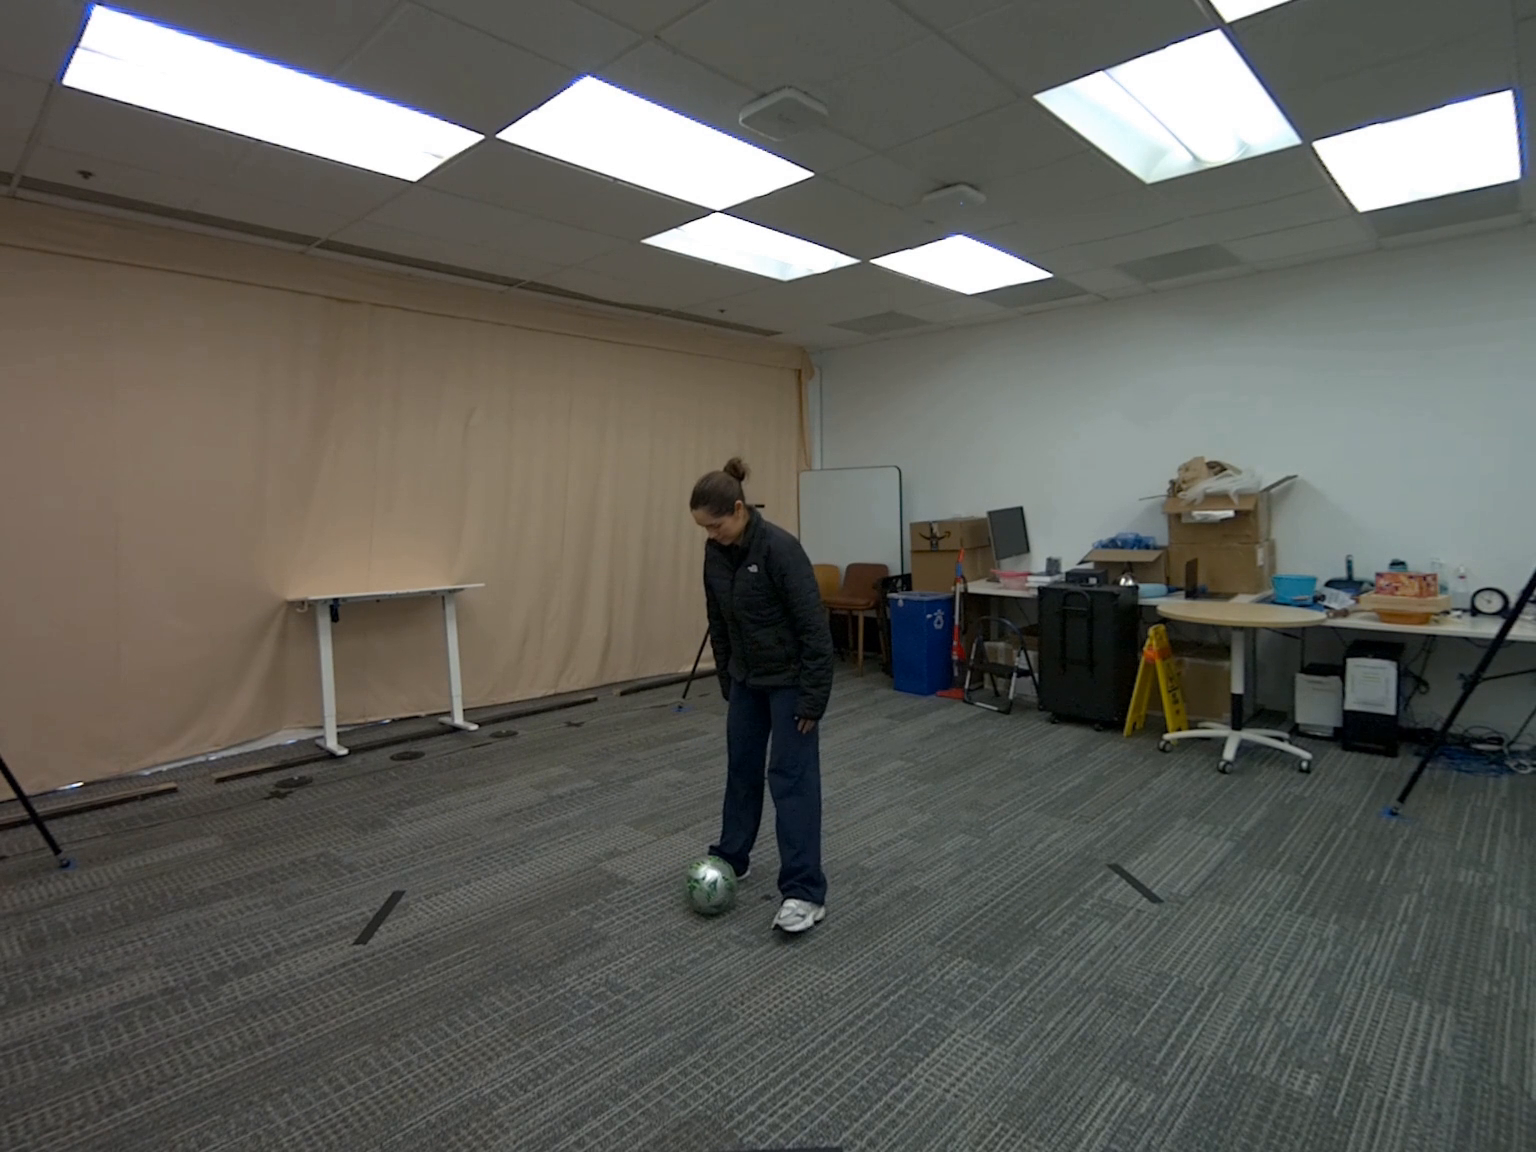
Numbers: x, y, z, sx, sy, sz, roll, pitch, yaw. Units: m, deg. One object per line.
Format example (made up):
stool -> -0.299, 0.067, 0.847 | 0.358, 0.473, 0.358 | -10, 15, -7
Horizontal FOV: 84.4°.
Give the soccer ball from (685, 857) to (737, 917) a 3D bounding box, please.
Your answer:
soccer ball -> -0.202, 1.061, 2.886 | 0.187, 0.187, 0.188 | -1, 4, -2
